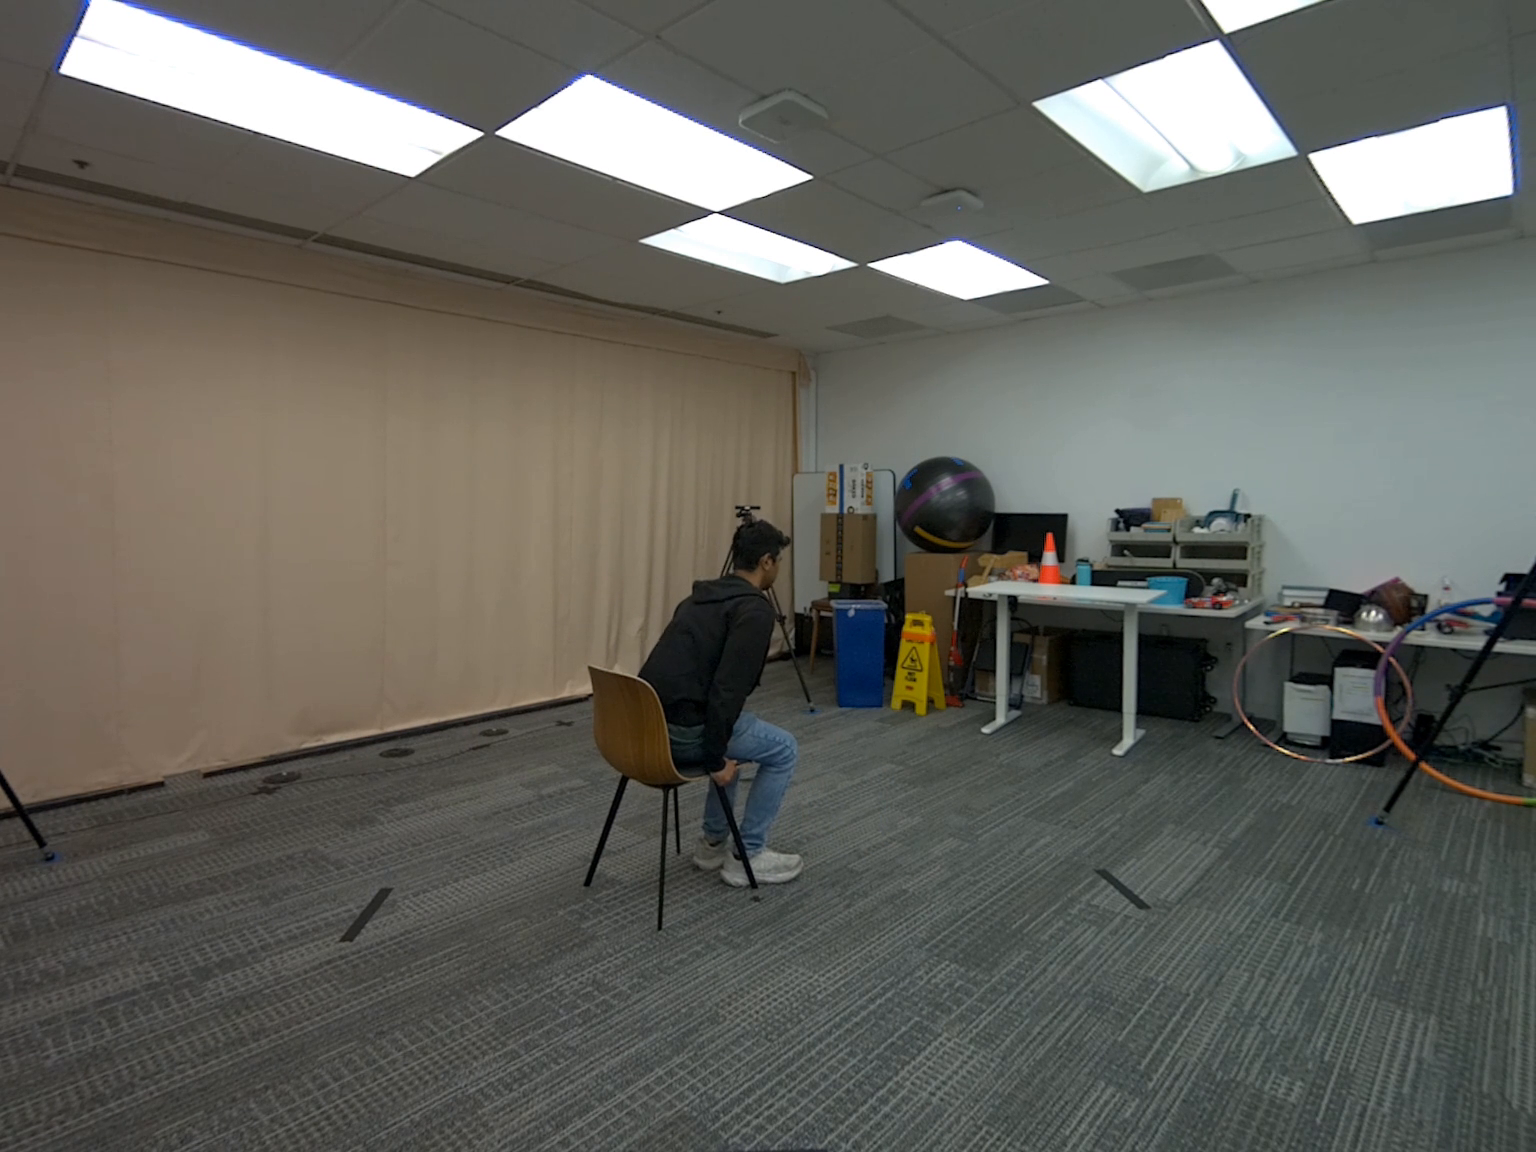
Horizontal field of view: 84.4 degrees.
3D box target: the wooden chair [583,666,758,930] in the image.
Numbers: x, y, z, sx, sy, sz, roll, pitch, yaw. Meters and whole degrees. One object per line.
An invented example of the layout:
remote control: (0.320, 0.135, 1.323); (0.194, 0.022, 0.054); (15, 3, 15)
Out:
wooden chair: (-0.353, 0.716, 3.064); (0.508, 0.874, 0.494); (-7, 7, -43)
